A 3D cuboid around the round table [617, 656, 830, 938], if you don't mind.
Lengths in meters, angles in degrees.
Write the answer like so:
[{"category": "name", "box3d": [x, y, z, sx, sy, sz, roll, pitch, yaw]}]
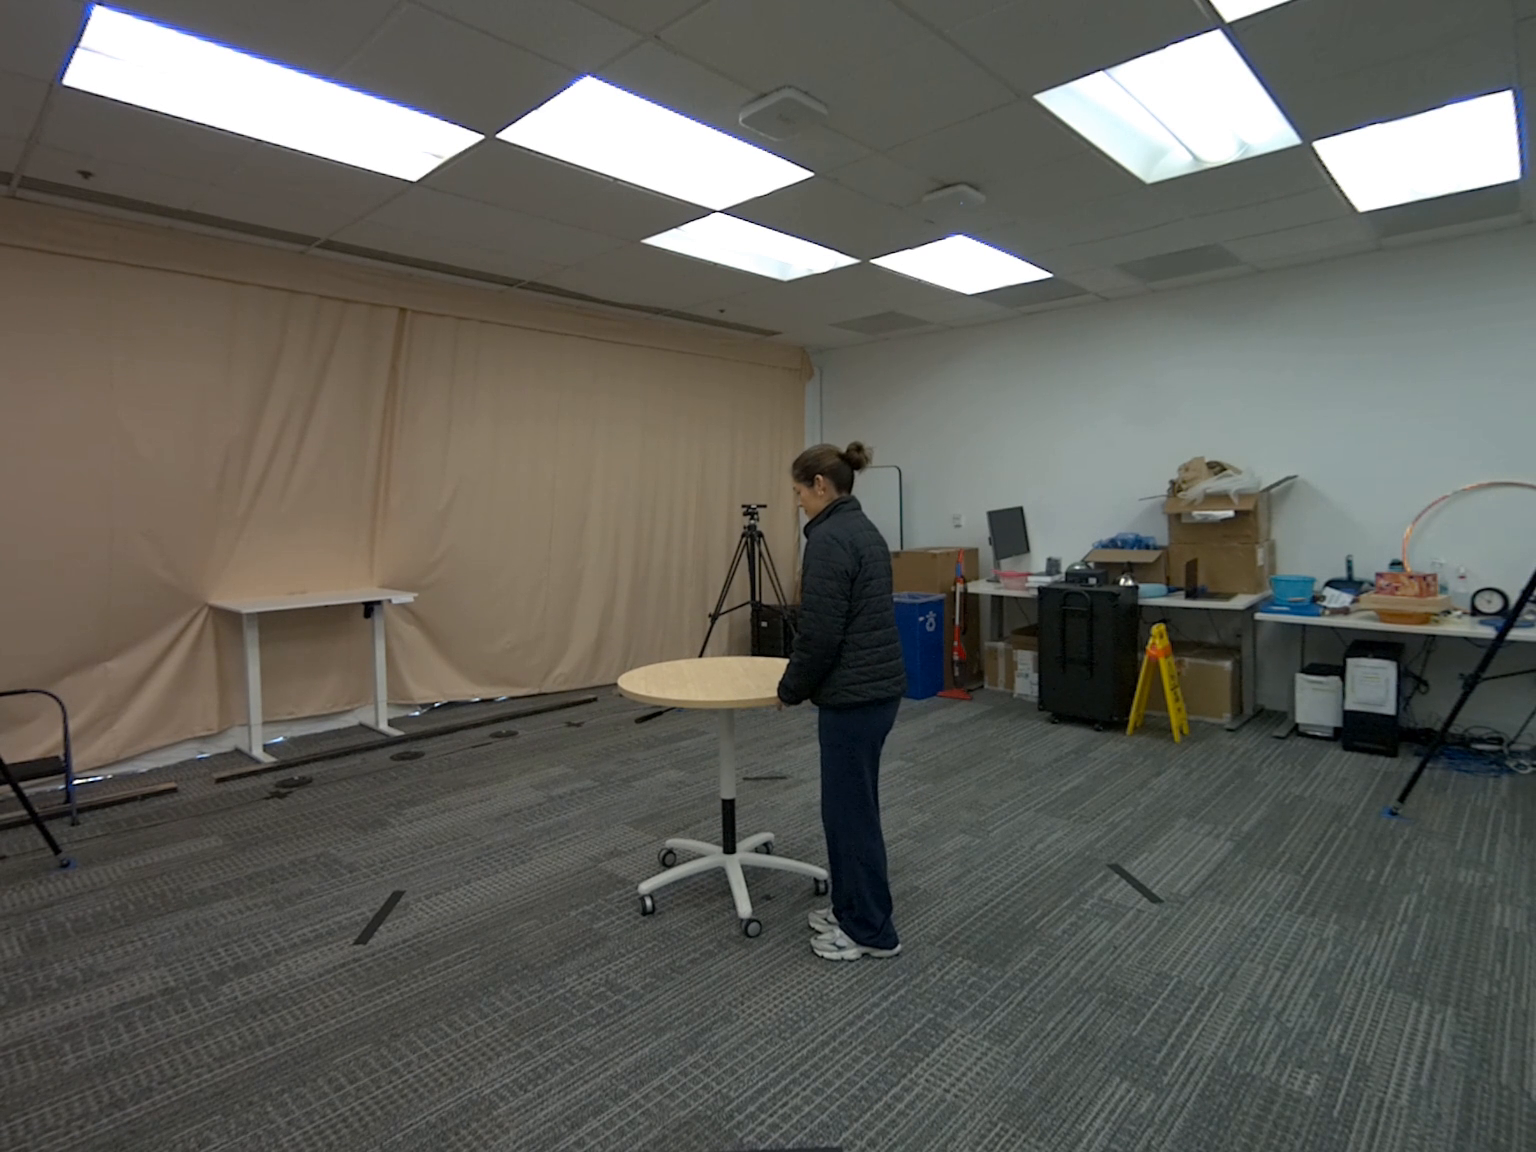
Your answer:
[{"category": "round table", "box3d": [-0.140, 0.741, 3.045, 0.784, 0.785, 0.788, -1, 4, -2]}]
